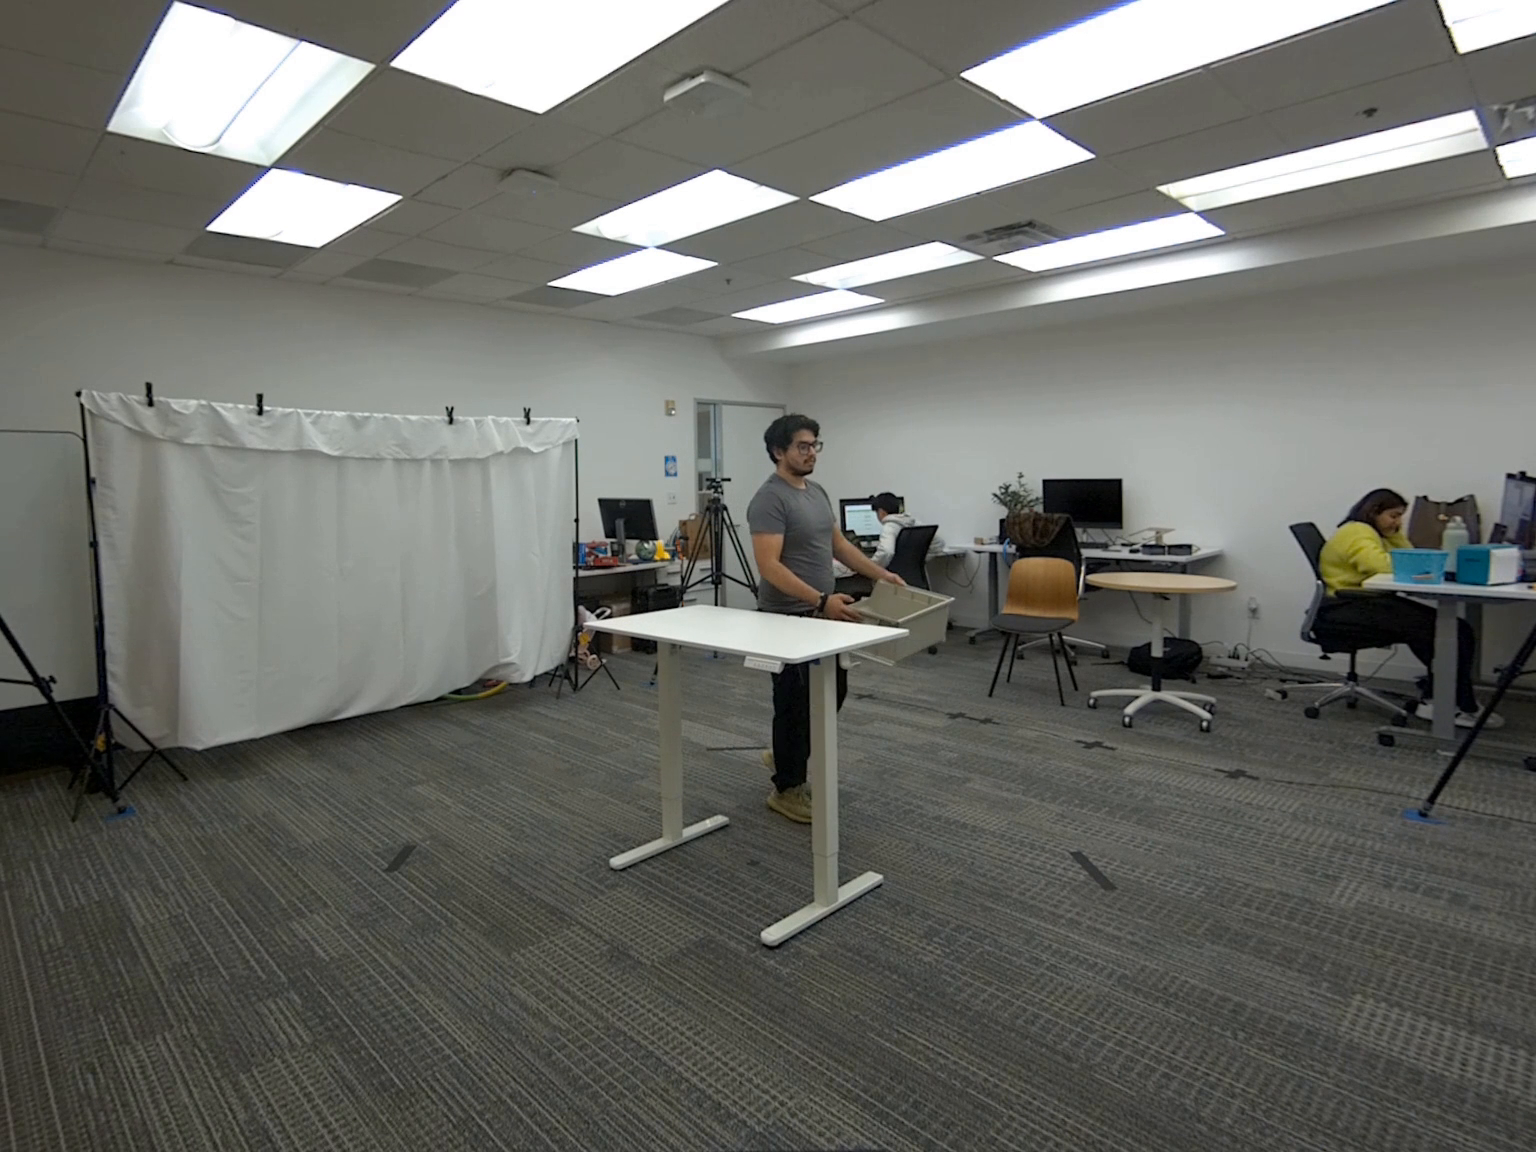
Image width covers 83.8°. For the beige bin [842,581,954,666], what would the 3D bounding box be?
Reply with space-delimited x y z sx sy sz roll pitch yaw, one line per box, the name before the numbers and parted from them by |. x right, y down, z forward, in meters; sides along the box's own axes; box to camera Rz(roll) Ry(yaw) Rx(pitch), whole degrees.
beige bin | 0.445 0.168 3.323 0.391 0.187 0.413 17 20 38
